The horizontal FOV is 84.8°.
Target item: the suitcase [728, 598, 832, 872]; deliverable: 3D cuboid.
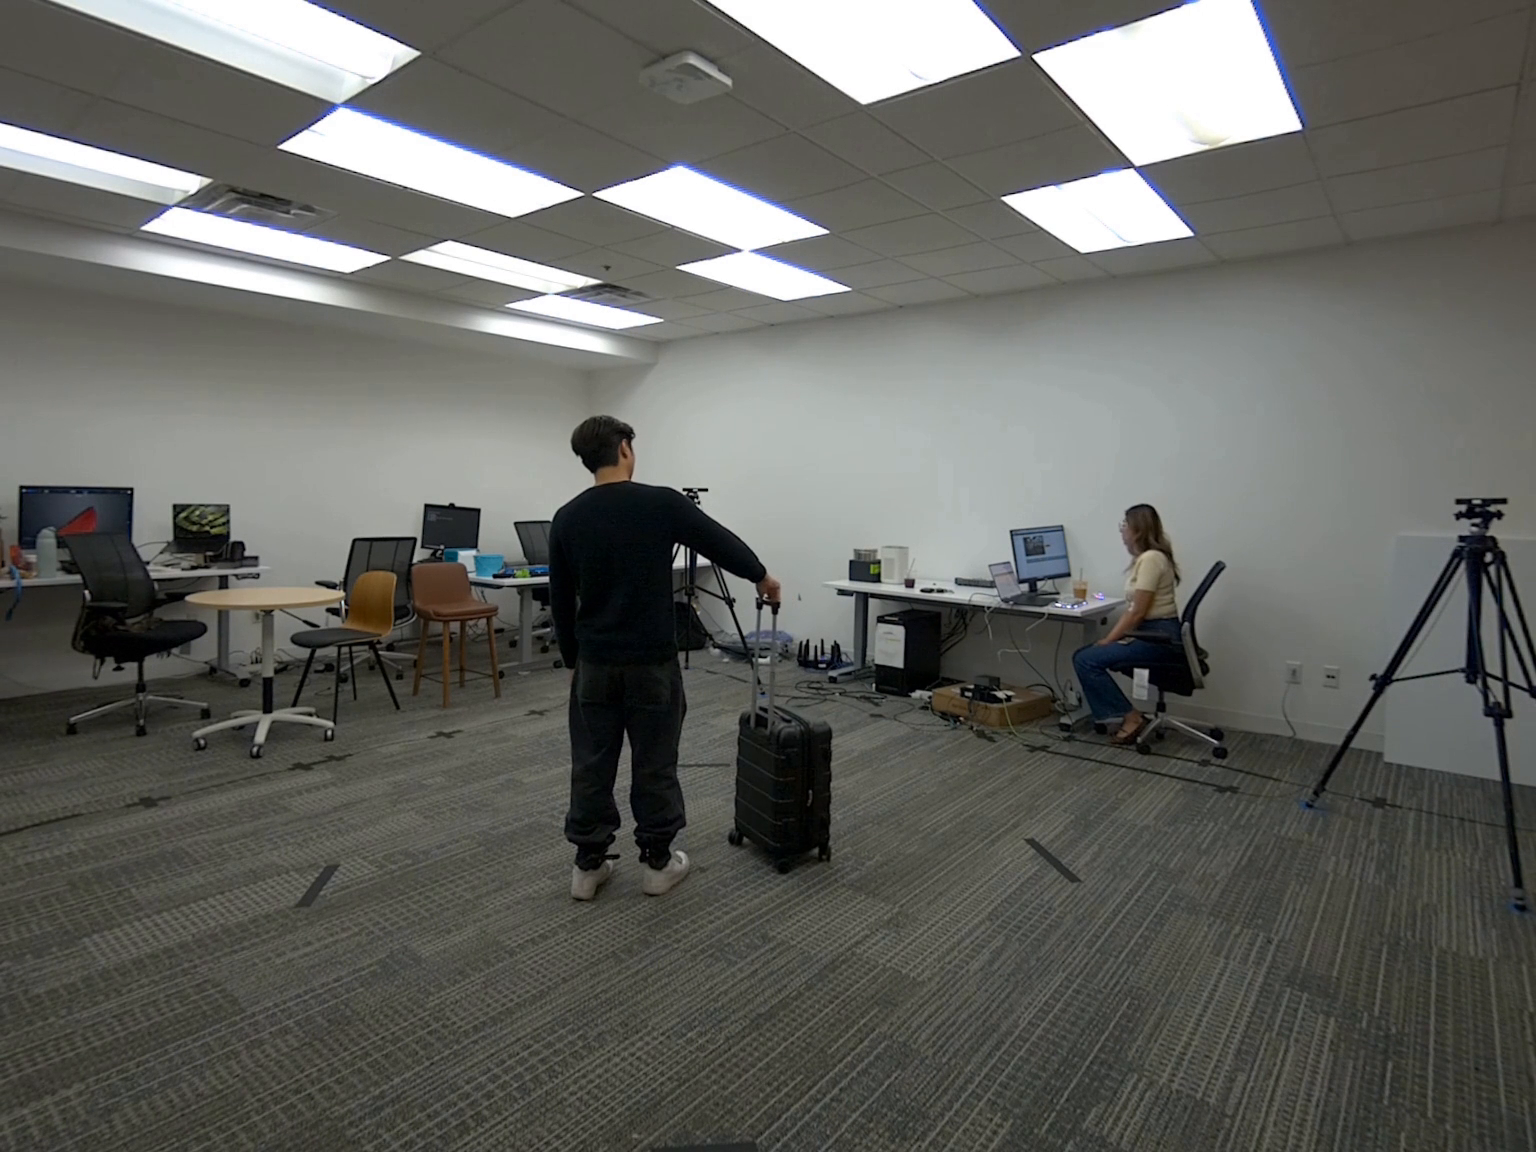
[{"bbox_3d":[0.056,0.584,3.263,0.250,0.976,0.395,0,4,-30],"label":"suitcase"}]
